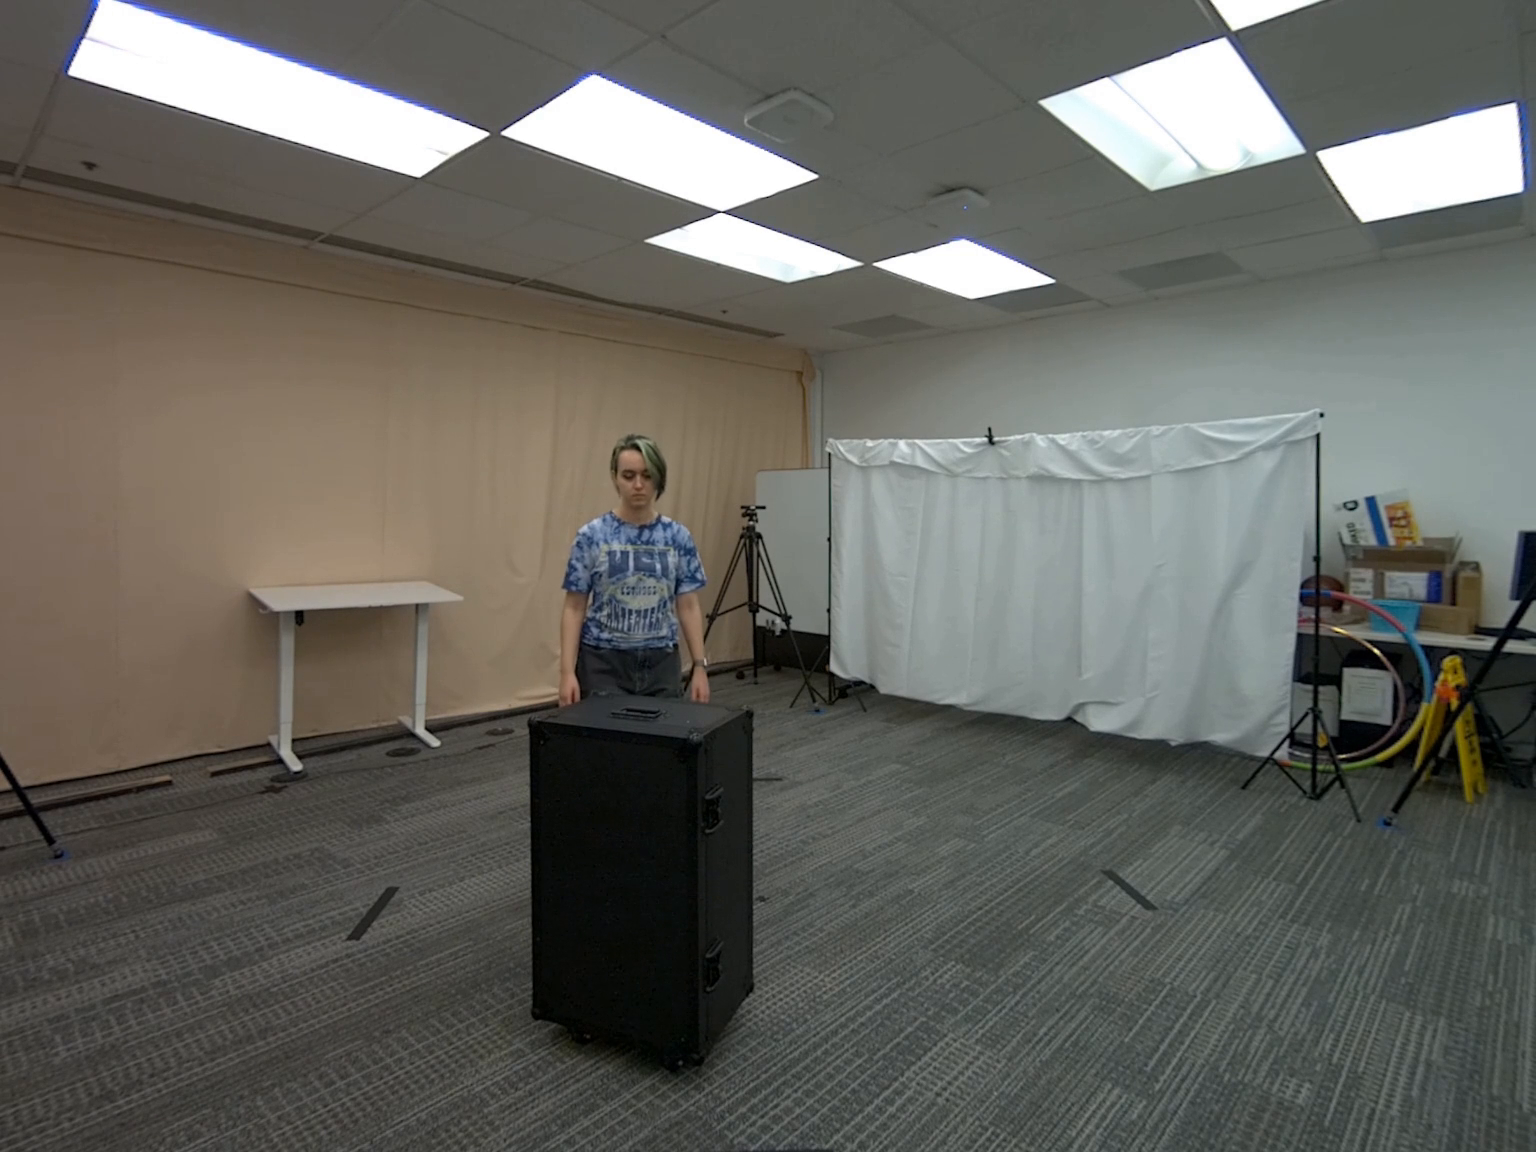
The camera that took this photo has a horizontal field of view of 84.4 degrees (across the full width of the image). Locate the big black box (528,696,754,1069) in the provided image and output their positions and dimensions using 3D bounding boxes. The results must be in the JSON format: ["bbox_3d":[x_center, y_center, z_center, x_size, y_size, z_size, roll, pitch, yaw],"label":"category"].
[{"bbox_3d":[-0.320,0.788,2.235,0.534,0.860,0.387,1,3,23],"label":"big black box"}]
